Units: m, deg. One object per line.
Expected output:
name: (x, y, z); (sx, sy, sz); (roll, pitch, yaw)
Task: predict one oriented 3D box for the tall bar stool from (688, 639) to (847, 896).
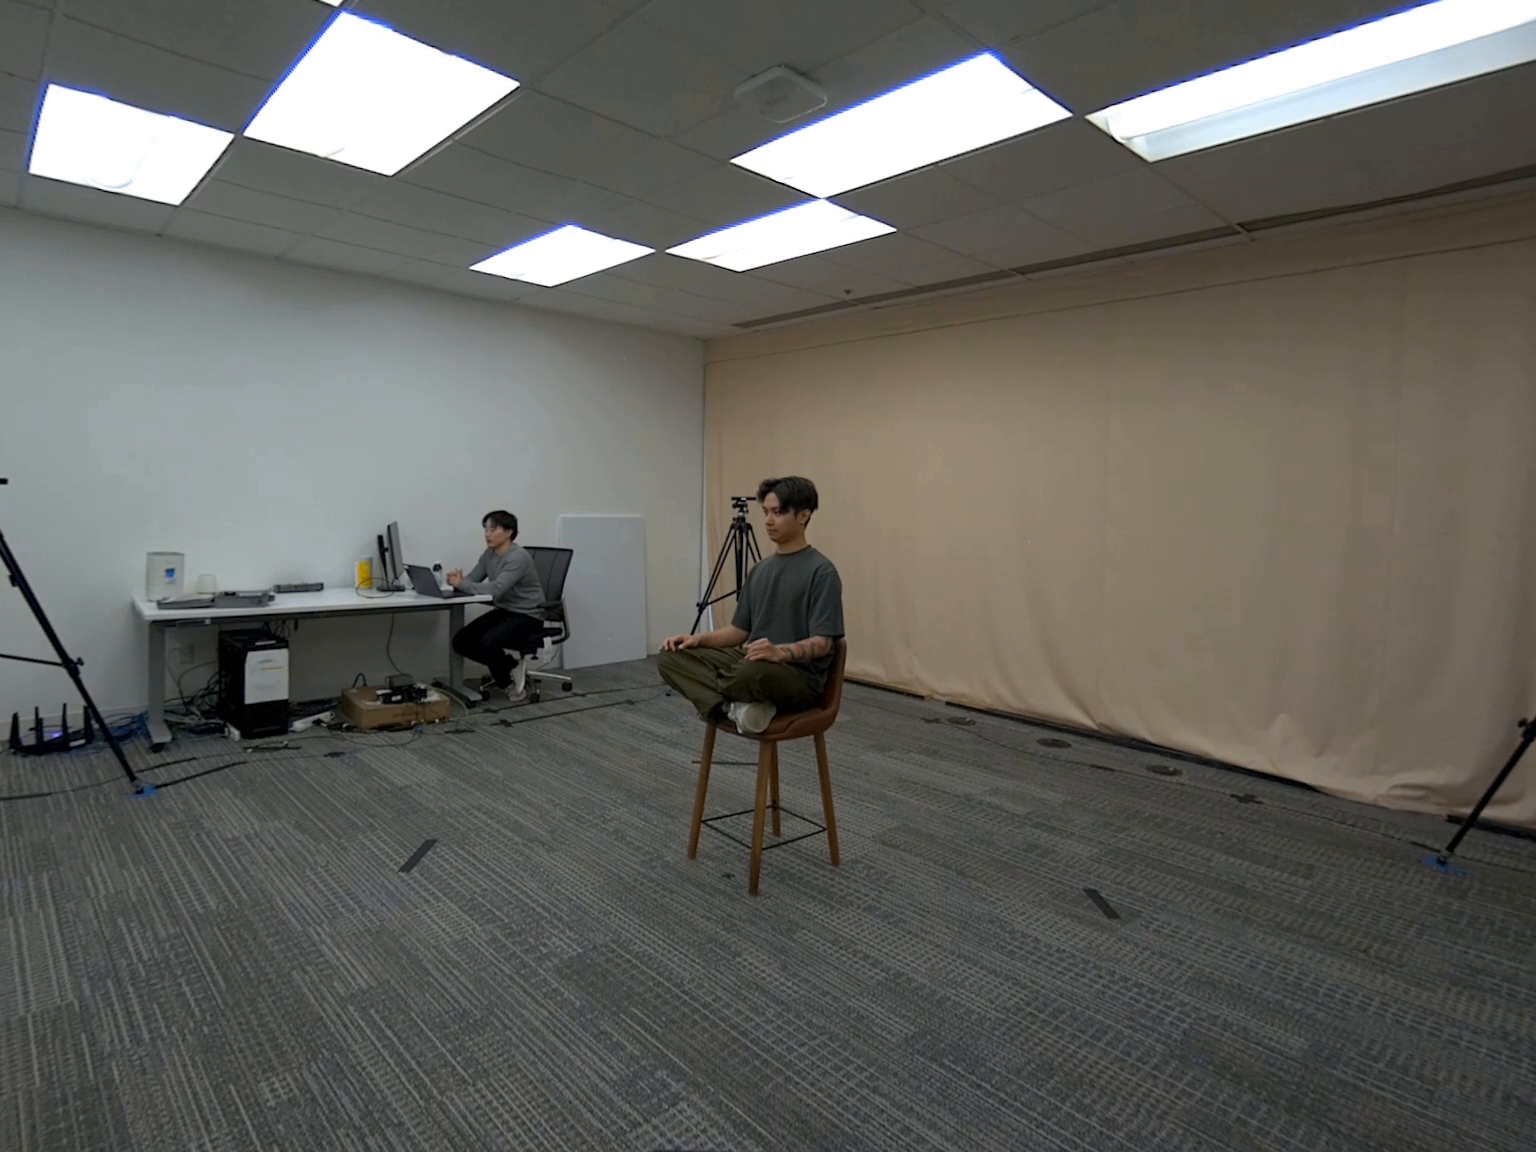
tall bar stool: (0.002, 0.664, 3.220); (0.456, 0.889, 0.468); (2, 2, -39)
